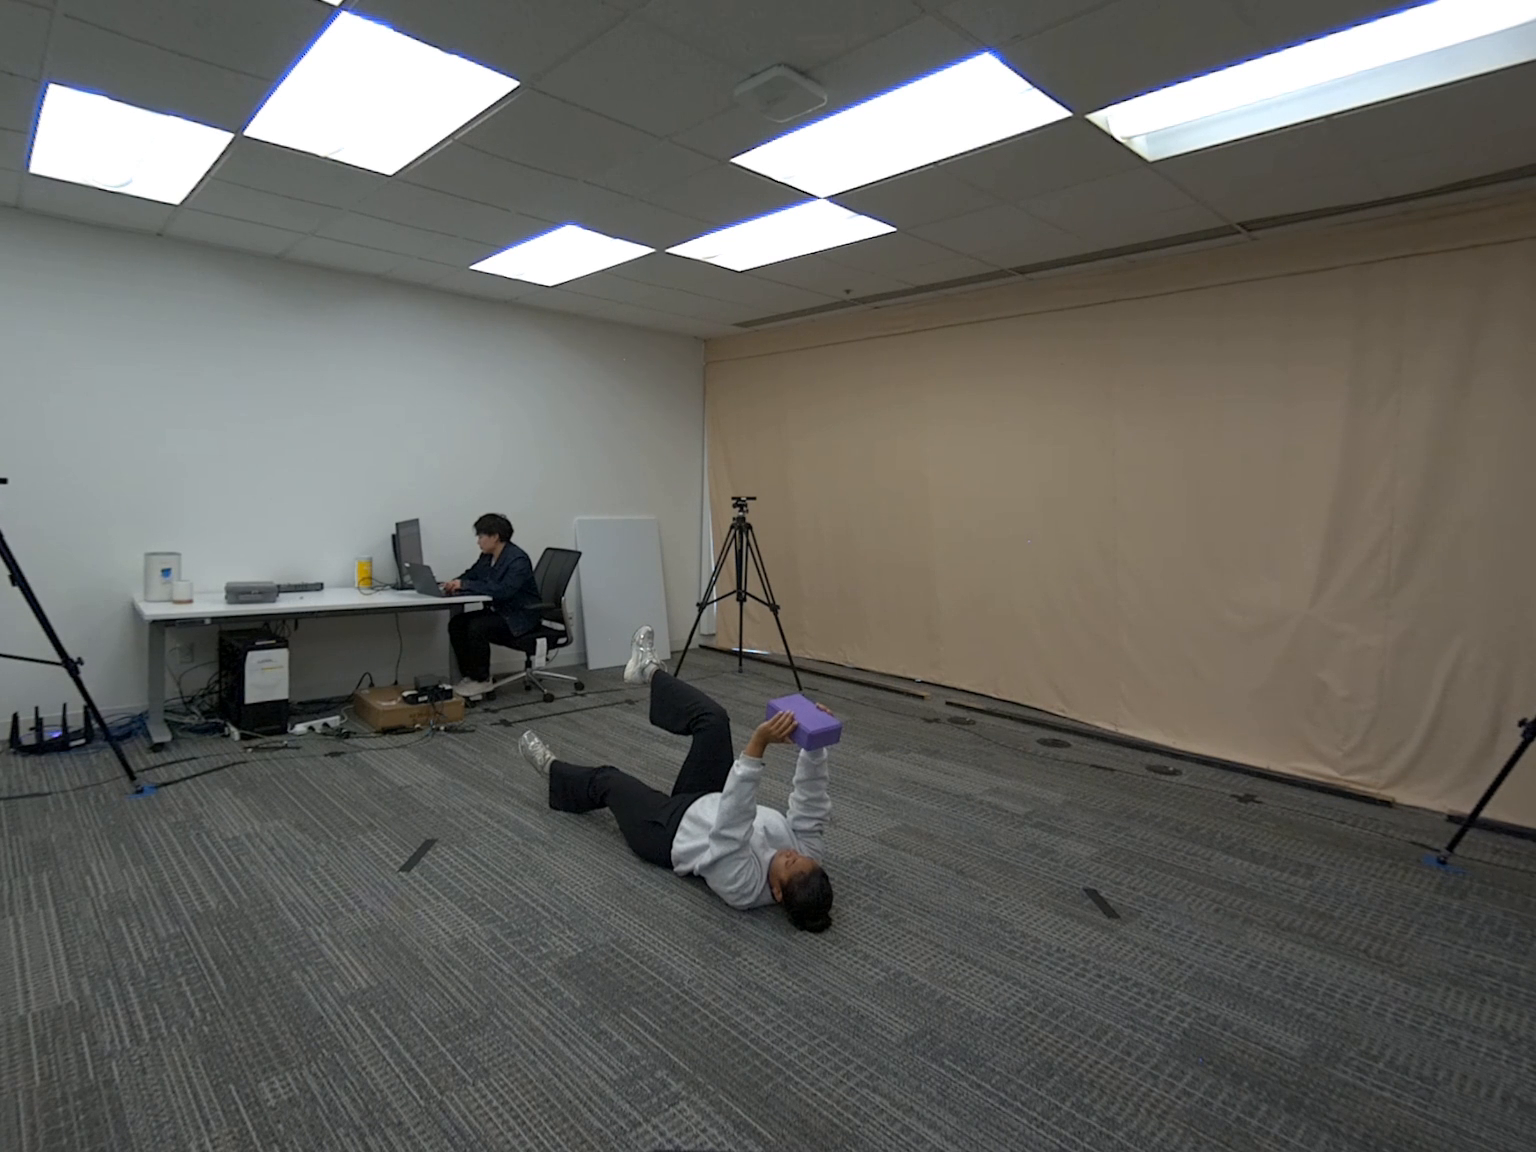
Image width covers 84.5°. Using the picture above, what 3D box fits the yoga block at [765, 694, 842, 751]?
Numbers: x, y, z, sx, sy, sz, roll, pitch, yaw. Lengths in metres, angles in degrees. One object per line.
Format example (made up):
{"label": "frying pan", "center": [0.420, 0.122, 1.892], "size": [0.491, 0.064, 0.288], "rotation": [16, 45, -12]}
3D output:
{"label": "yoga block", "center": [0.115, 0.490, 2.789], "size": [0.146, 0.075, 0.236], "rotation": [-7, 23, -37]}
